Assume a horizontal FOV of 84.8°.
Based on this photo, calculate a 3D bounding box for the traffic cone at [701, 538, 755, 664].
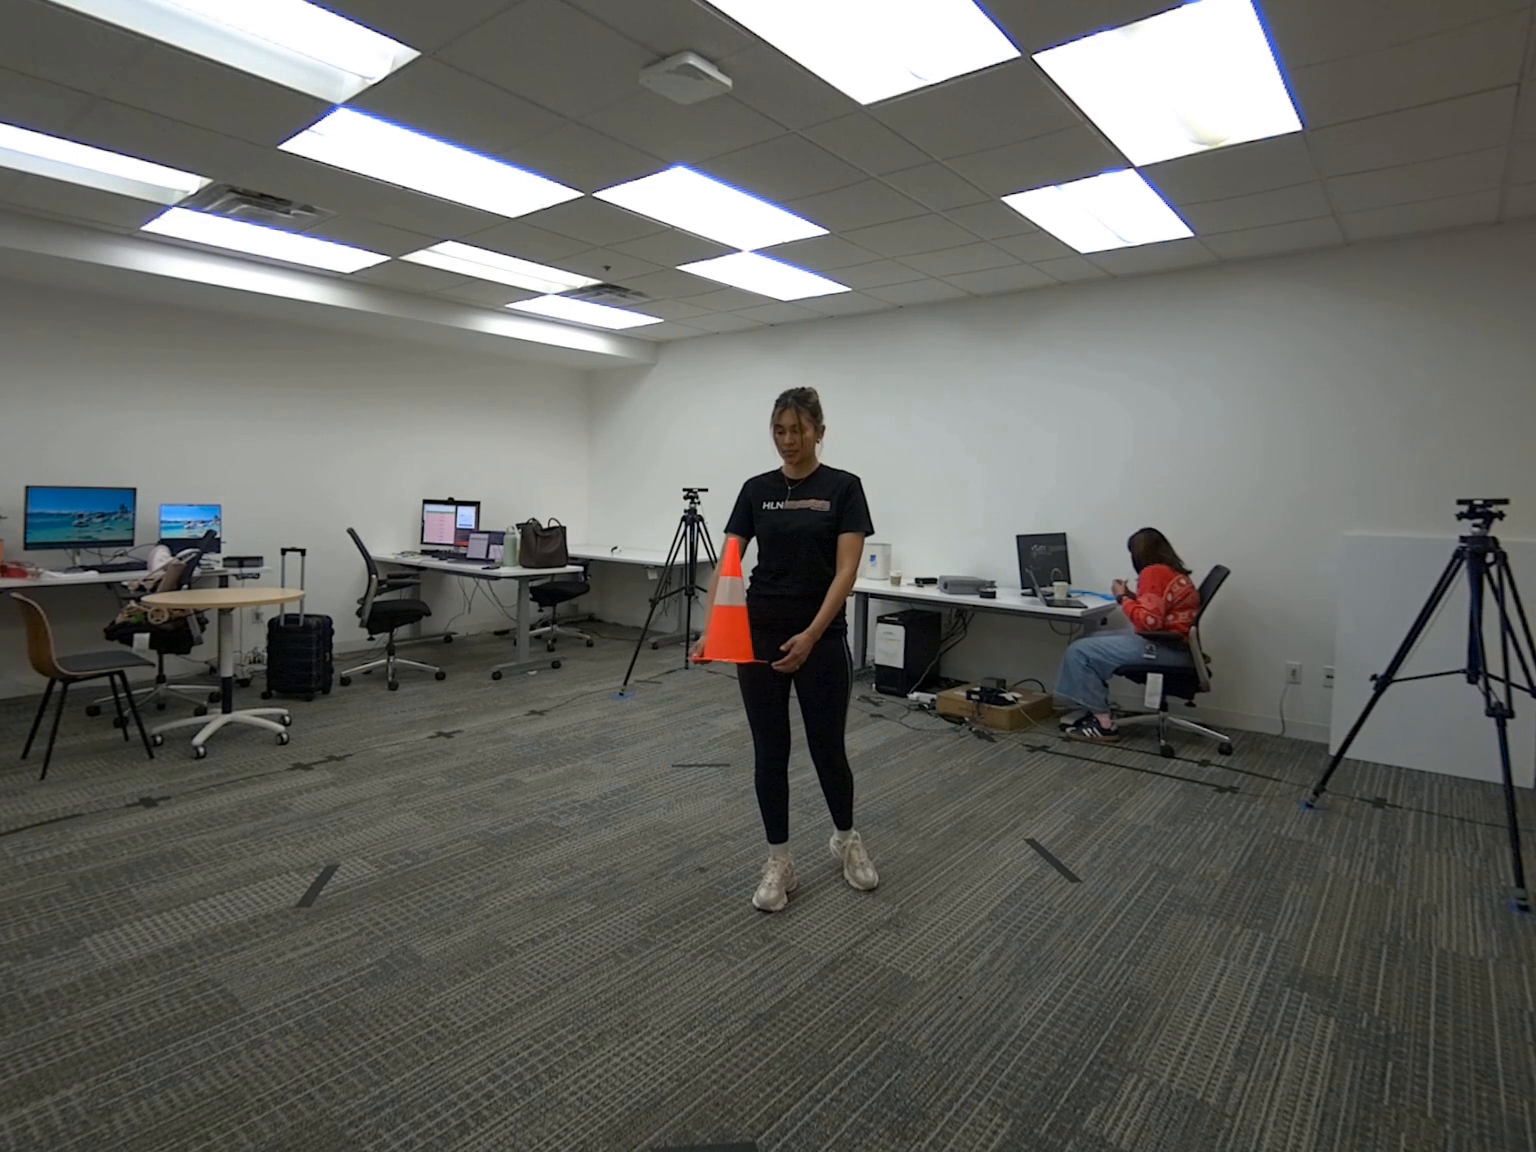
[{"bbox_3d":[-0.114,0.068,2.700,0.205,0.386,0.202,2,-7,6],"label":"traffic cone"}]
